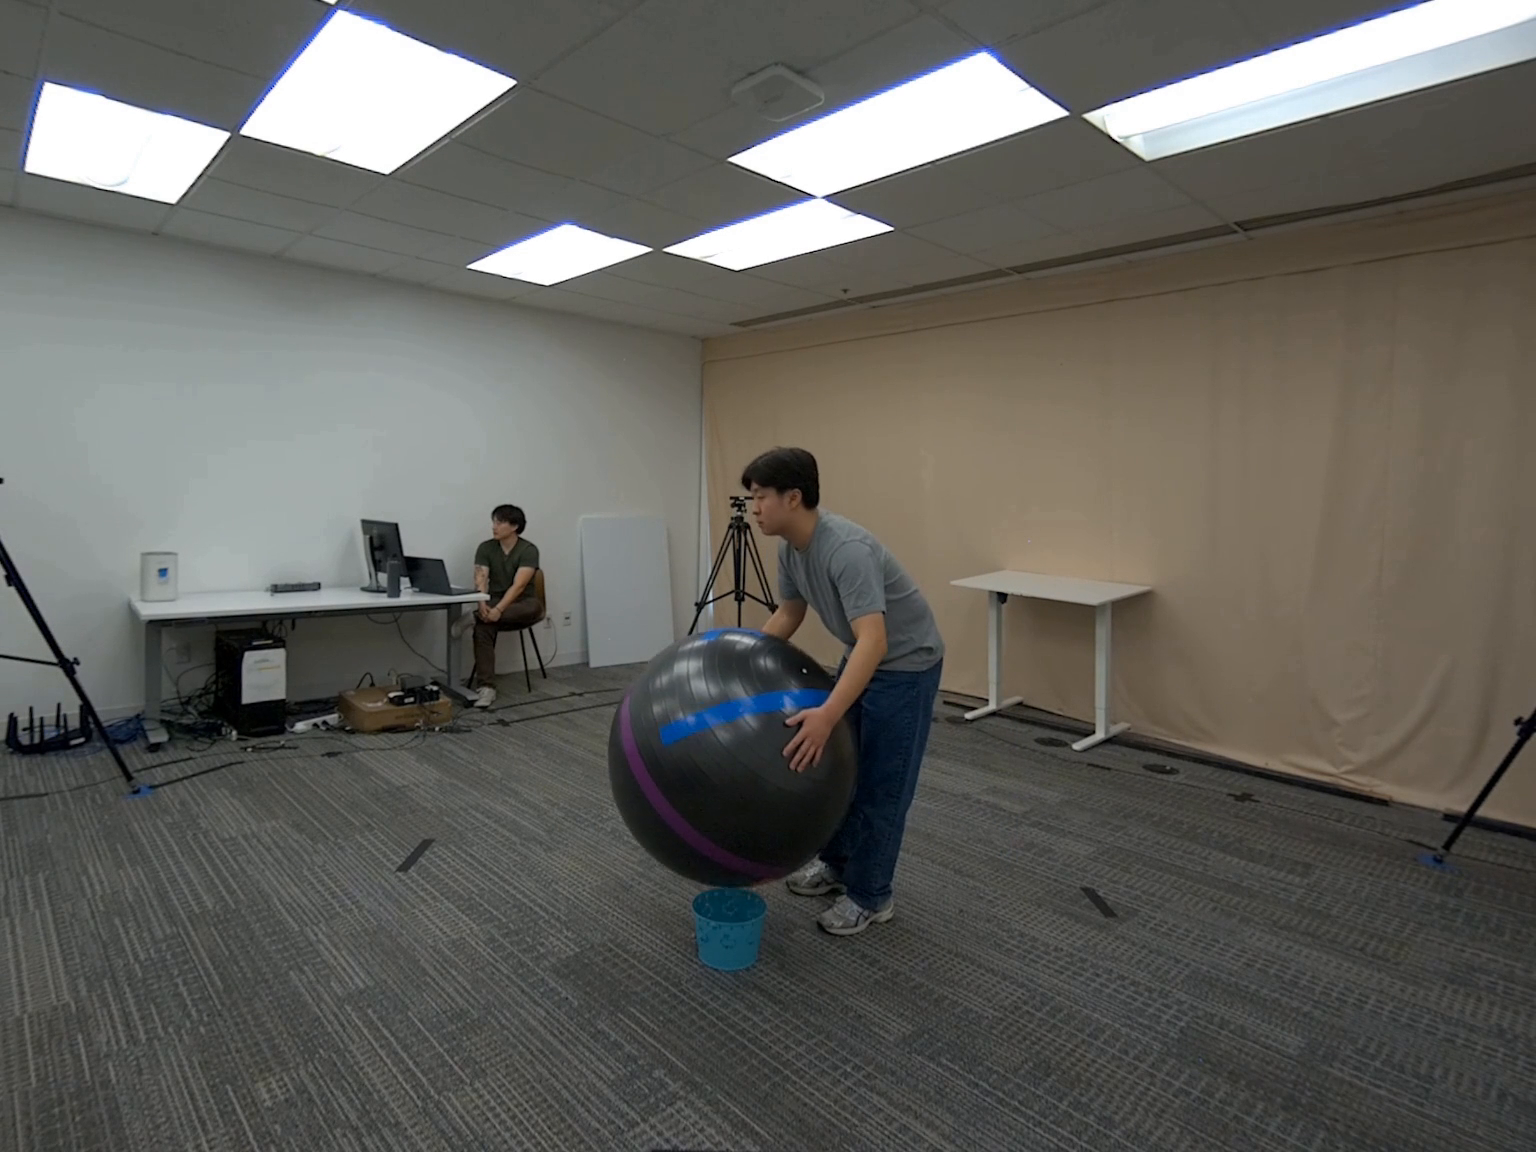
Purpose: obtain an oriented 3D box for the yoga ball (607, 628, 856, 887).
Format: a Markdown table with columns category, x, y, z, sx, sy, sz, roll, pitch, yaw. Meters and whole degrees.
| category | x | y | z | sx | sy | sz | roll | pitch | yaw |
| --- | --- | --- | --- | --- | --- | --- | --- | --- | --- |
| yoga ball | -0.112 | 0.534 | 2.565 | 0.757 | 0.756 | 0.761 | 1 | 4 | -1 |
